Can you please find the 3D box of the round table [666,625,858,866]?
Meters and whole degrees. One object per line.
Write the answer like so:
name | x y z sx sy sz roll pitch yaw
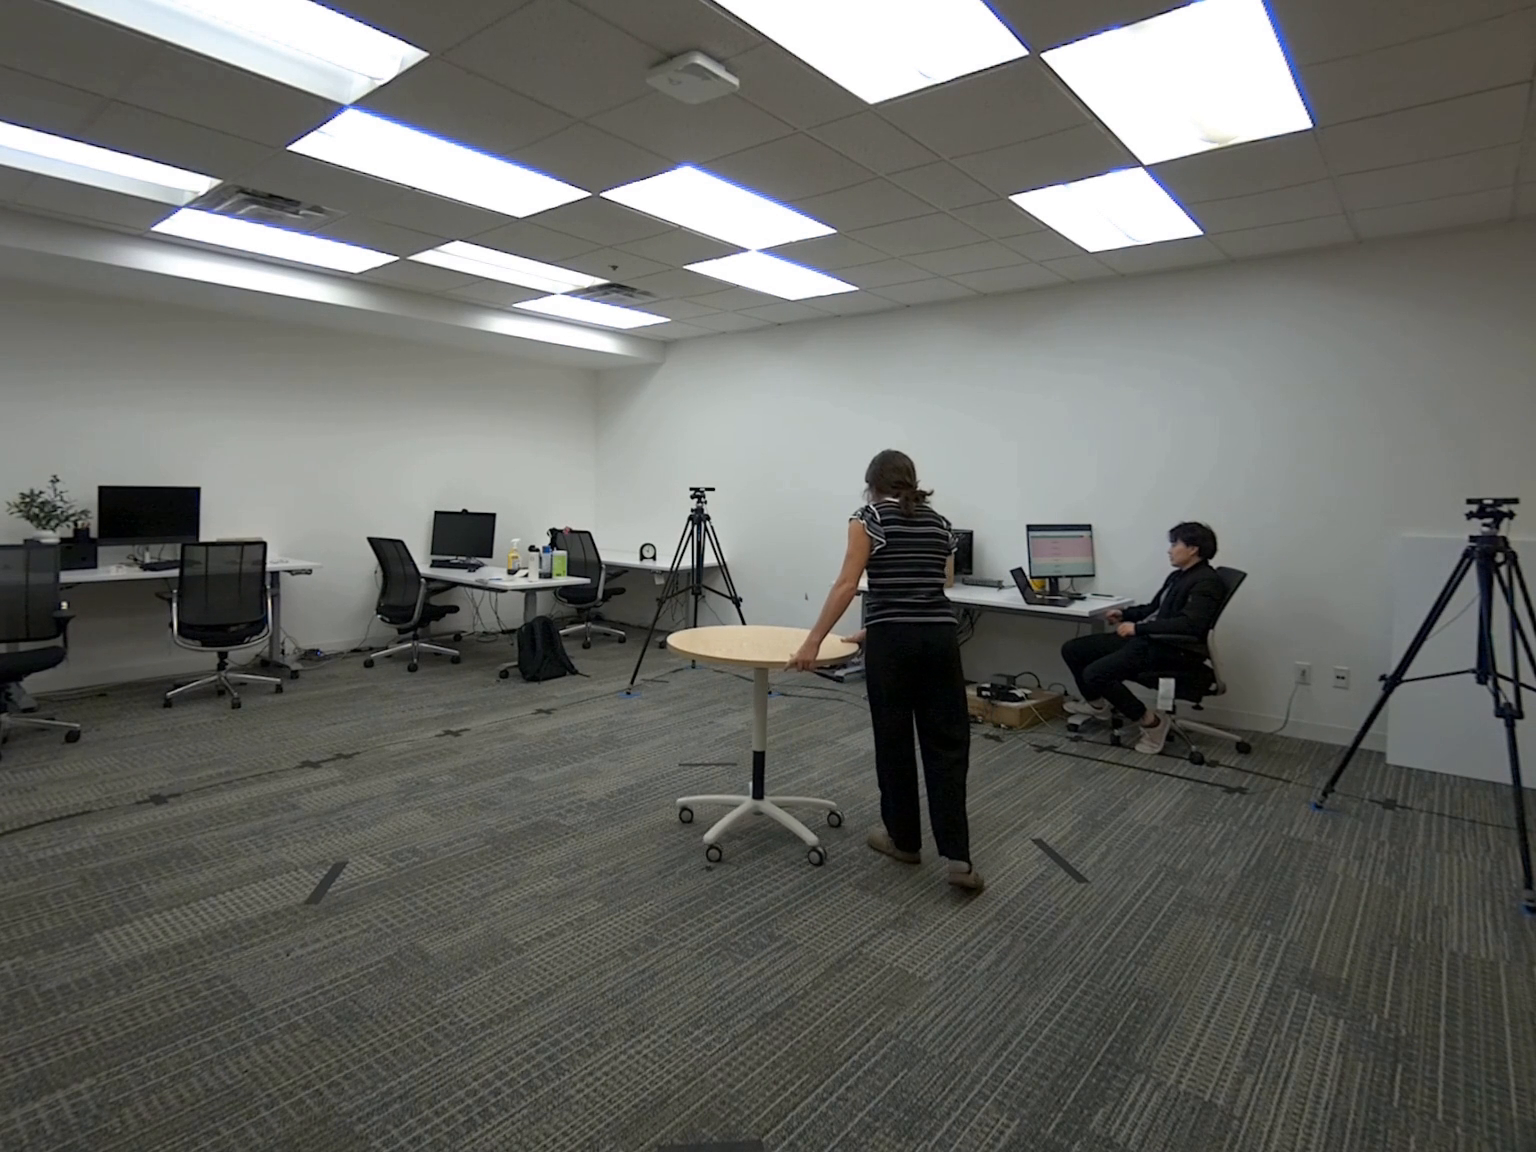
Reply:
round table | -0.045 0.650 3.434 0.763 0.791 0.768 1 4 -2
